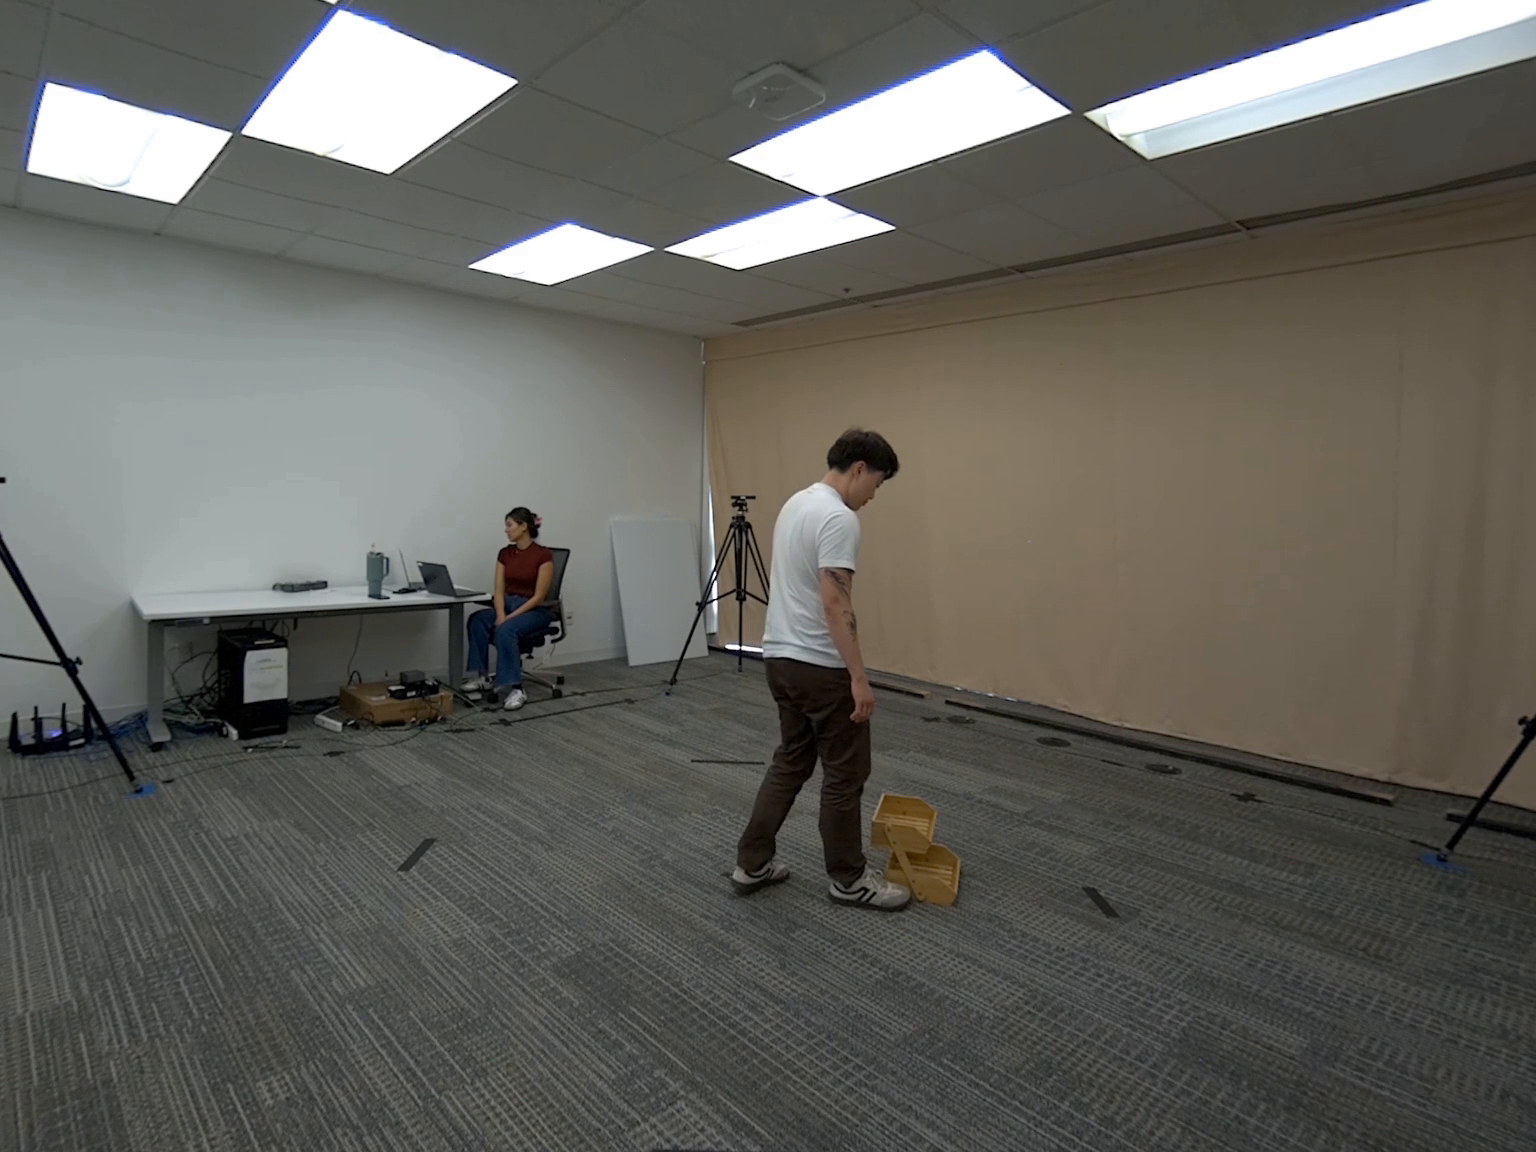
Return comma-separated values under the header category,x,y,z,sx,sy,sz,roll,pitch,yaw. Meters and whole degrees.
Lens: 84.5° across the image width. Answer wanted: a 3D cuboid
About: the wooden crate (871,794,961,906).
category,x,y,z,sx,sy,sz,roll,pitch,yaw
wooden crate,0.550,0.991,3.077,0.306,0.272,0.321,2,4,14
